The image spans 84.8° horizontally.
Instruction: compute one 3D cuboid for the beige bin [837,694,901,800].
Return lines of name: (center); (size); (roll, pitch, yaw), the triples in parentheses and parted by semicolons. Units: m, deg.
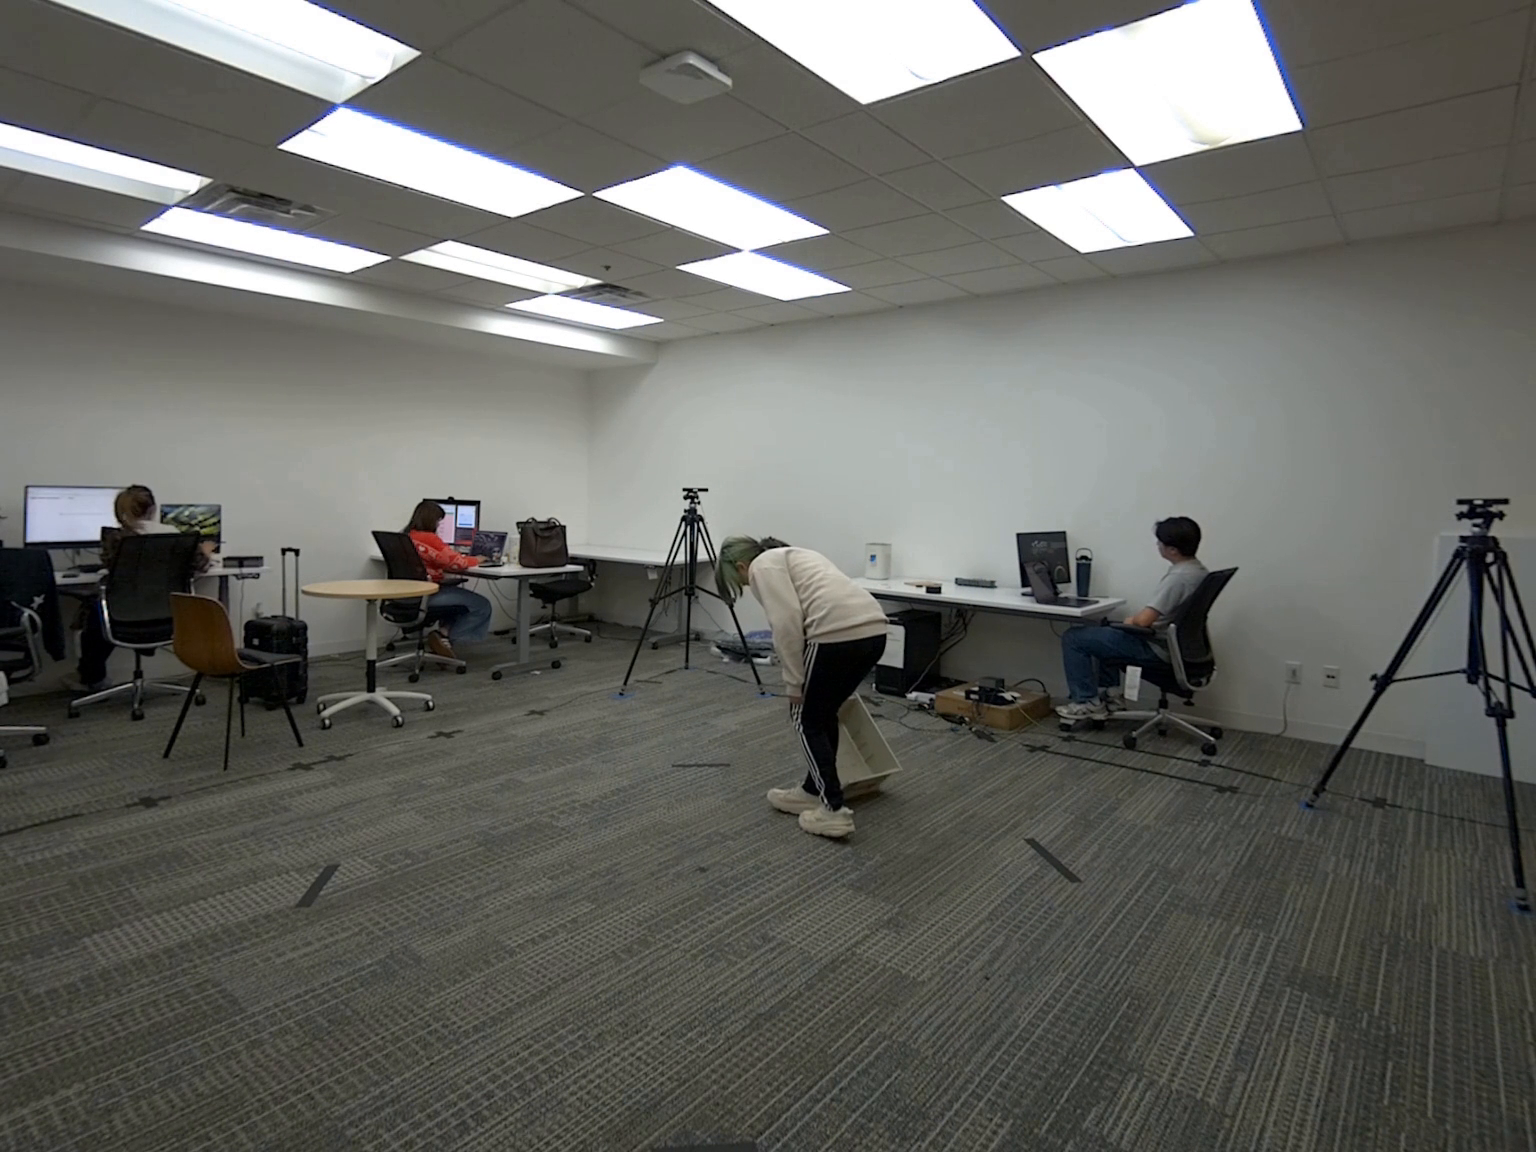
beige bin: (0.334, 0.790, 3.954); (0.366, 0.188, 0.438); (-1, 48, -39)
